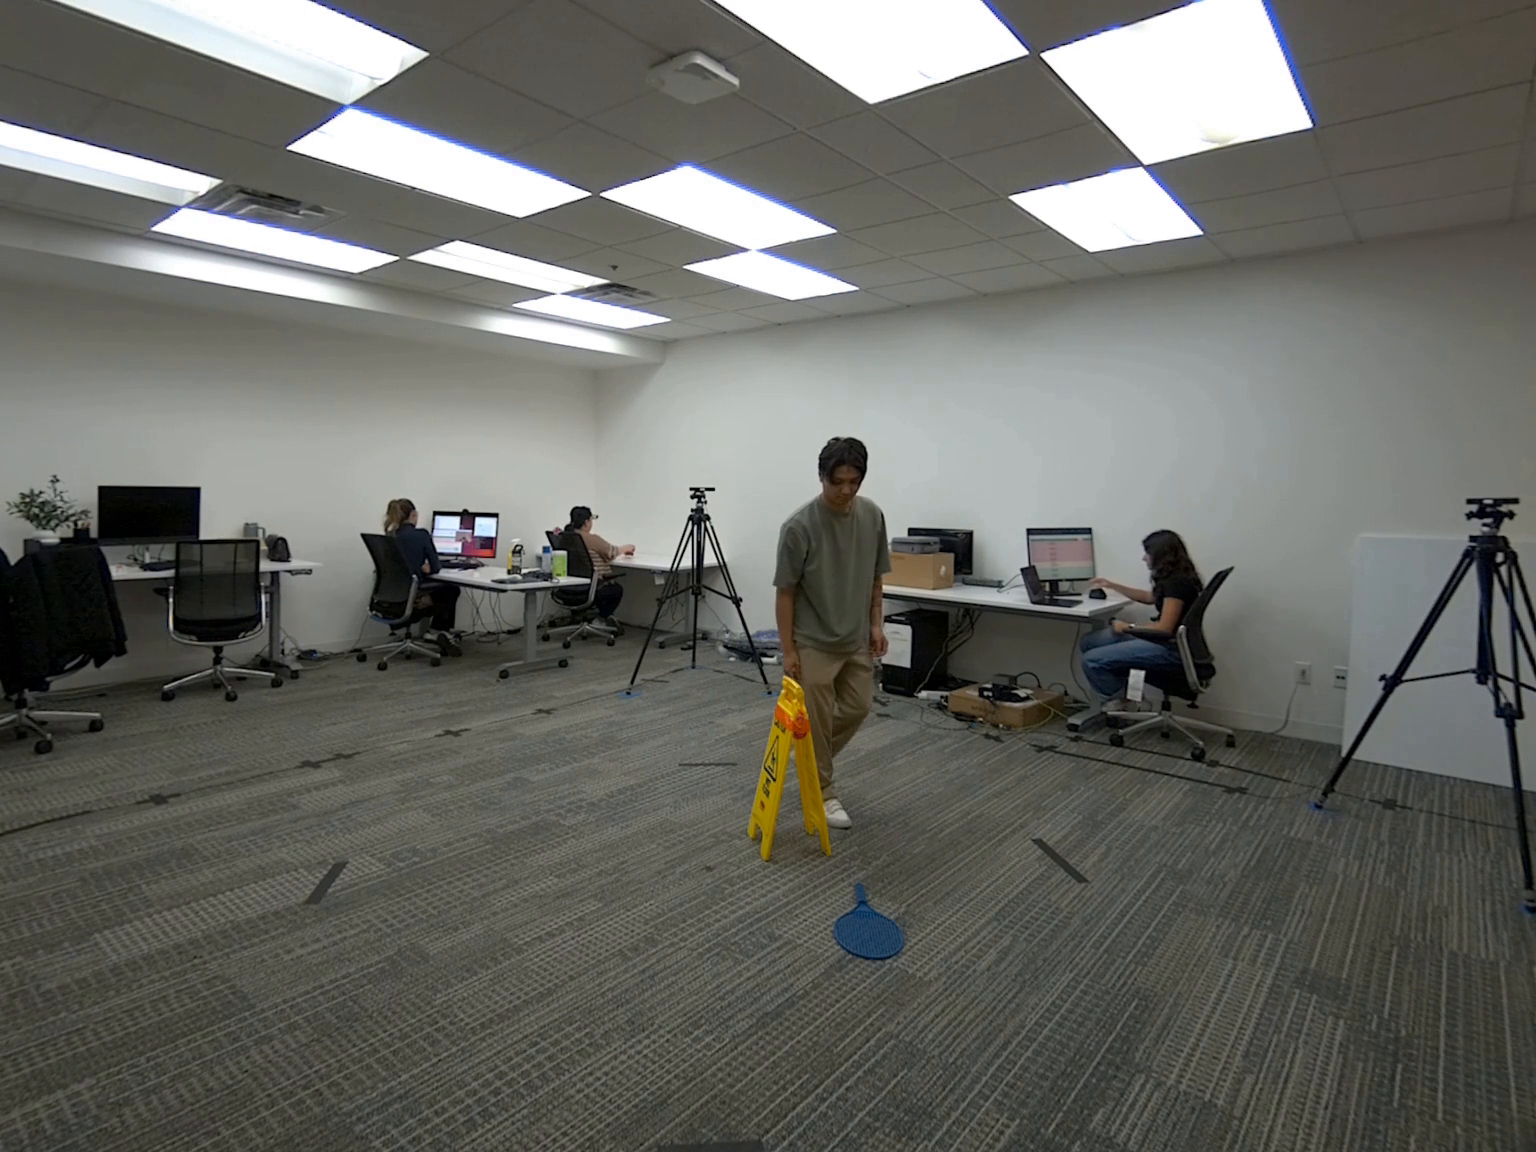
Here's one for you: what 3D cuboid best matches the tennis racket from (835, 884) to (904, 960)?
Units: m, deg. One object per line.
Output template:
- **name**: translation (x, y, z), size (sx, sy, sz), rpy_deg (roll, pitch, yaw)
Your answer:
- **tennis racket**: translation (0.306, 1.104, 2.739), size (0.214, 0.031, 0.434), rpy_deg (2, 6, 0)
